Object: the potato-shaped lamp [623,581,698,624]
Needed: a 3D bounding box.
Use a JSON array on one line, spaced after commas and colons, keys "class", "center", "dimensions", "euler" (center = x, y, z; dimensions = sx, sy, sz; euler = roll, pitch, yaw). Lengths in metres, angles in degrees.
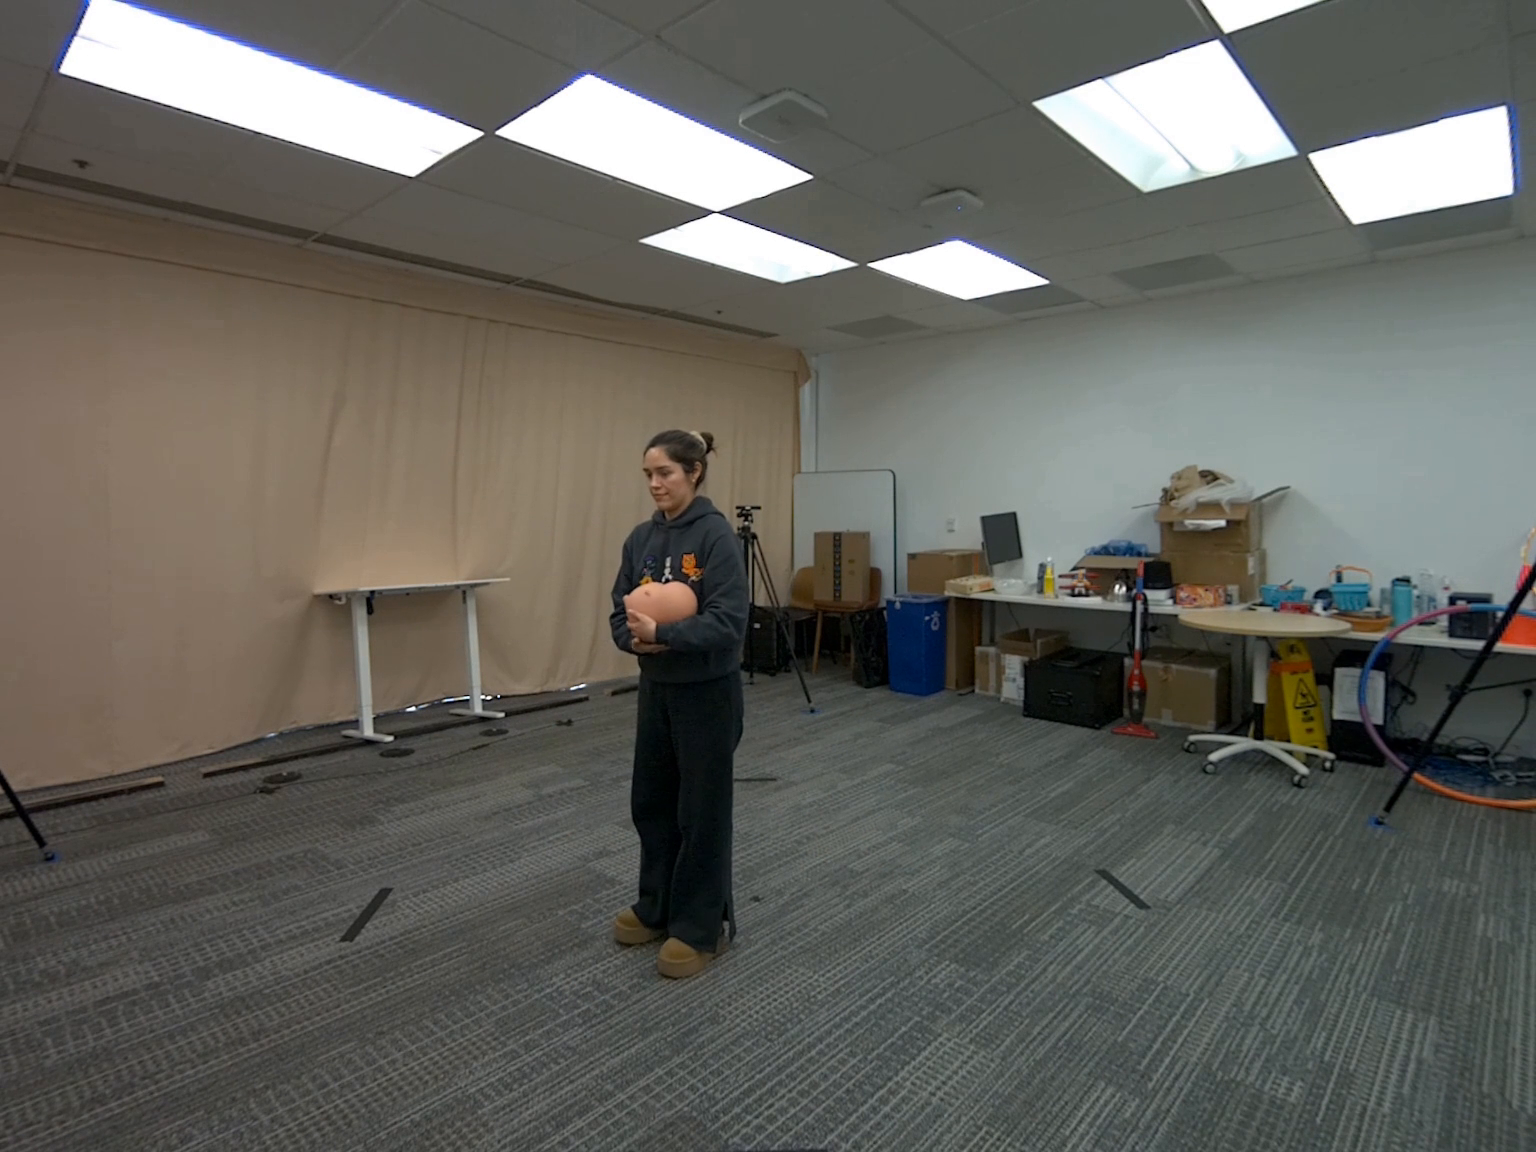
[{"class": "potato-shaped lamp", "center": [-0.300, 0.095, 2.439], "dimensions": [0.201, 0.173, 0.160], "euler": [-25, -12, 28]}]
